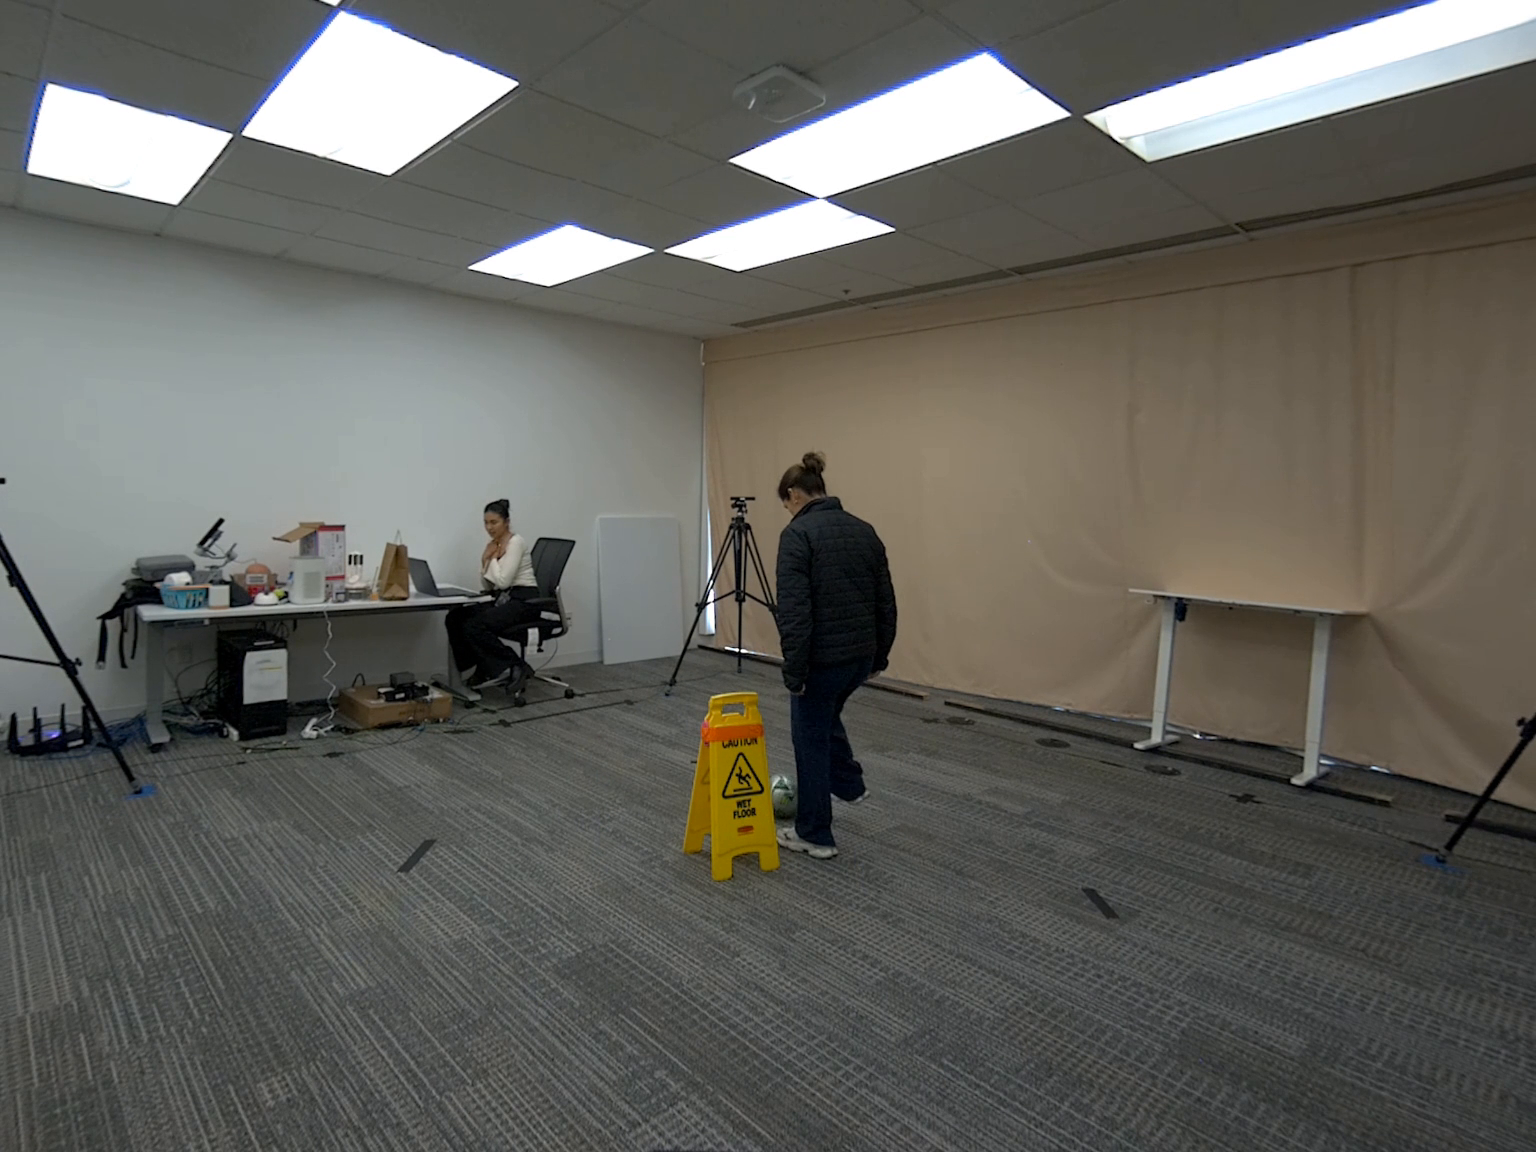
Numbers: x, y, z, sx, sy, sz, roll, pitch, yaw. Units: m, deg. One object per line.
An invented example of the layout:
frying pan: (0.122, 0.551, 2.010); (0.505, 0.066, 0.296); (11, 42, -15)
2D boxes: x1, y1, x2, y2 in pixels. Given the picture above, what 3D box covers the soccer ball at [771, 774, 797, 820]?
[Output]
soccer ball: (0.059, 0.968, 3.711); (0.187, 0.187, 0.188); (1, 4, -1)
